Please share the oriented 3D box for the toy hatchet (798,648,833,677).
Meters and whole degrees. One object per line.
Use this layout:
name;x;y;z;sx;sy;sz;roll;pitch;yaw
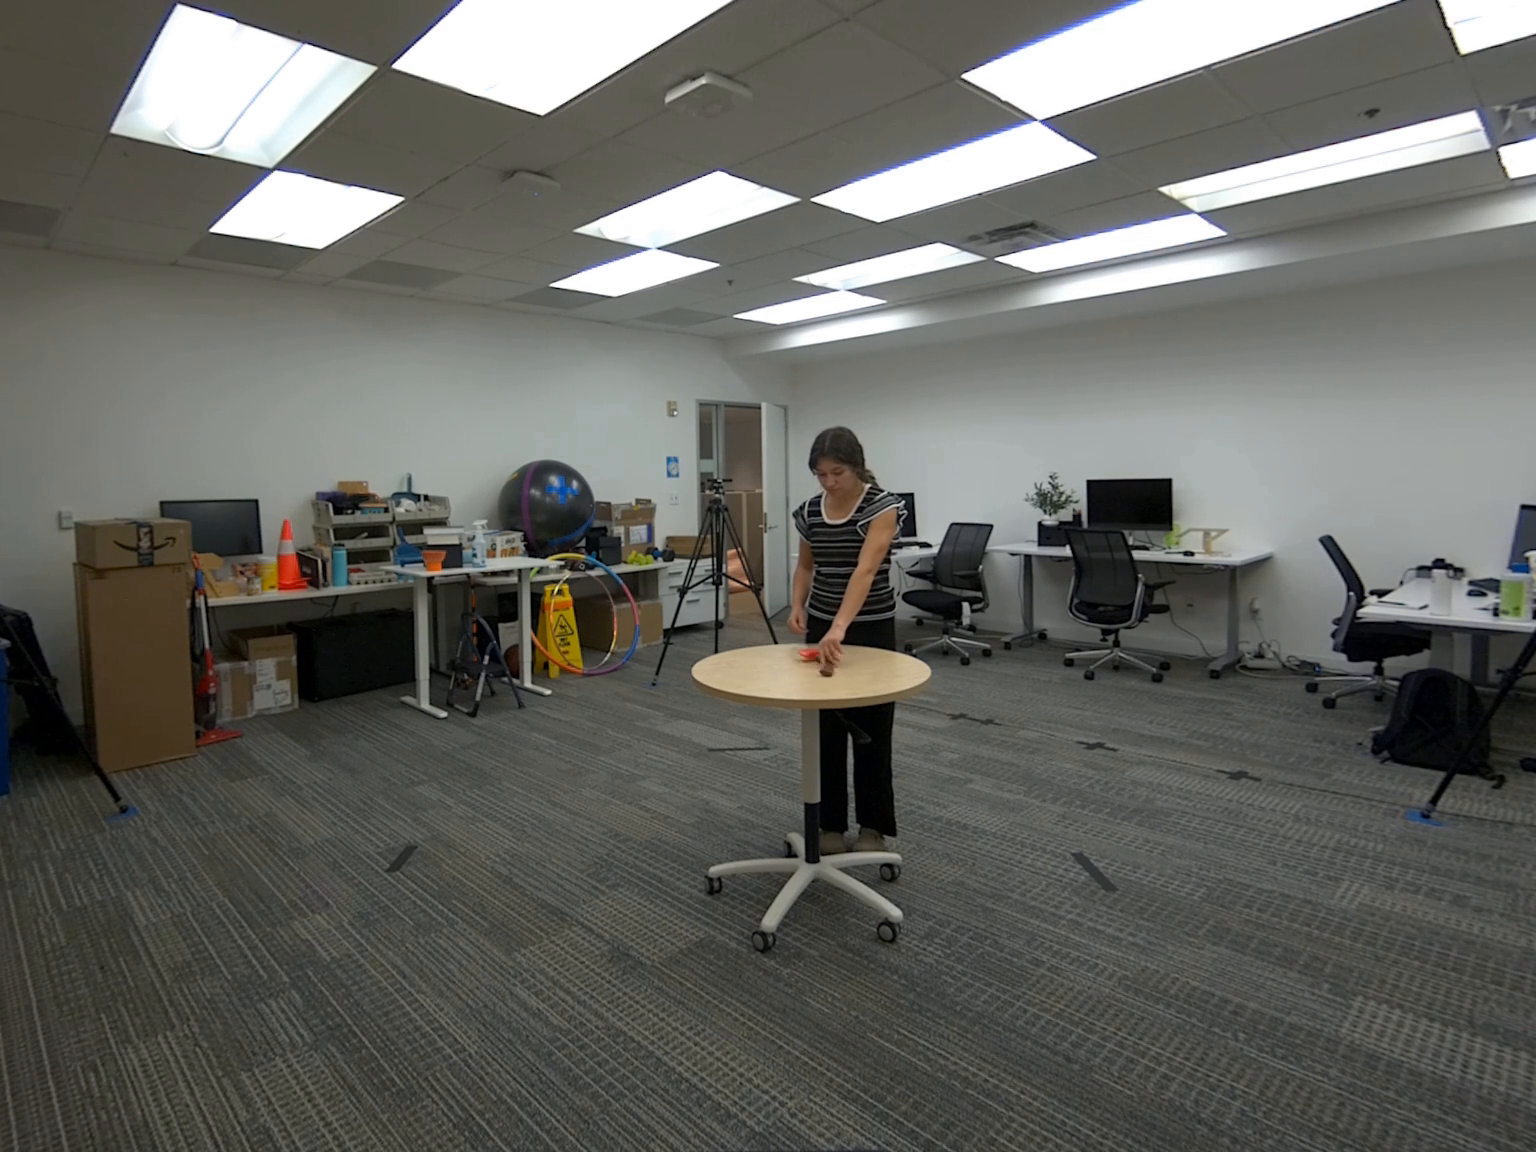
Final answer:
toy hatchet;0.160;0.281;2.773;0.132;0.029;0.268;11;7;8
